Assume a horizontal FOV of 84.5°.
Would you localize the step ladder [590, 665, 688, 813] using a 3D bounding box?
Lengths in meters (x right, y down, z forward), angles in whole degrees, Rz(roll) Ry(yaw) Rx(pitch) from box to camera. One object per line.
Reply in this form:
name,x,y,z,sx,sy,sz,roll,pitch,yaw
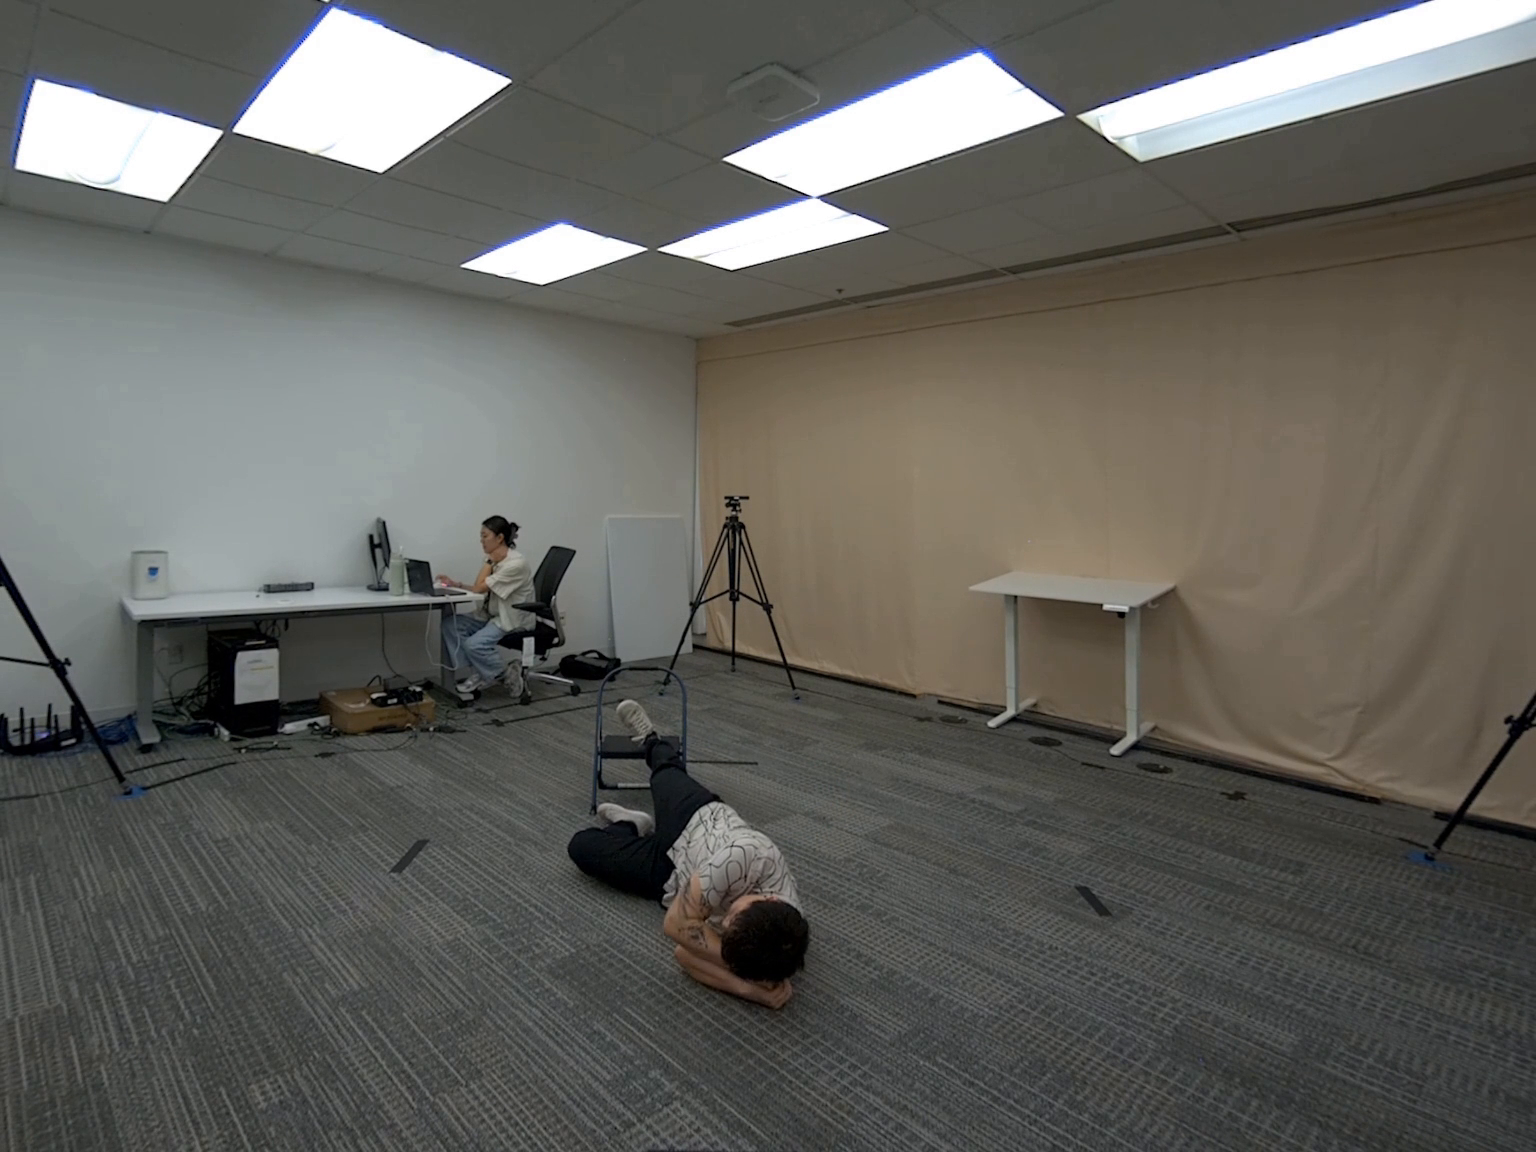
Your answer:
step ladder,-0.586,0.732,3.842,0.428,0.604,0.352,2,4,-6
